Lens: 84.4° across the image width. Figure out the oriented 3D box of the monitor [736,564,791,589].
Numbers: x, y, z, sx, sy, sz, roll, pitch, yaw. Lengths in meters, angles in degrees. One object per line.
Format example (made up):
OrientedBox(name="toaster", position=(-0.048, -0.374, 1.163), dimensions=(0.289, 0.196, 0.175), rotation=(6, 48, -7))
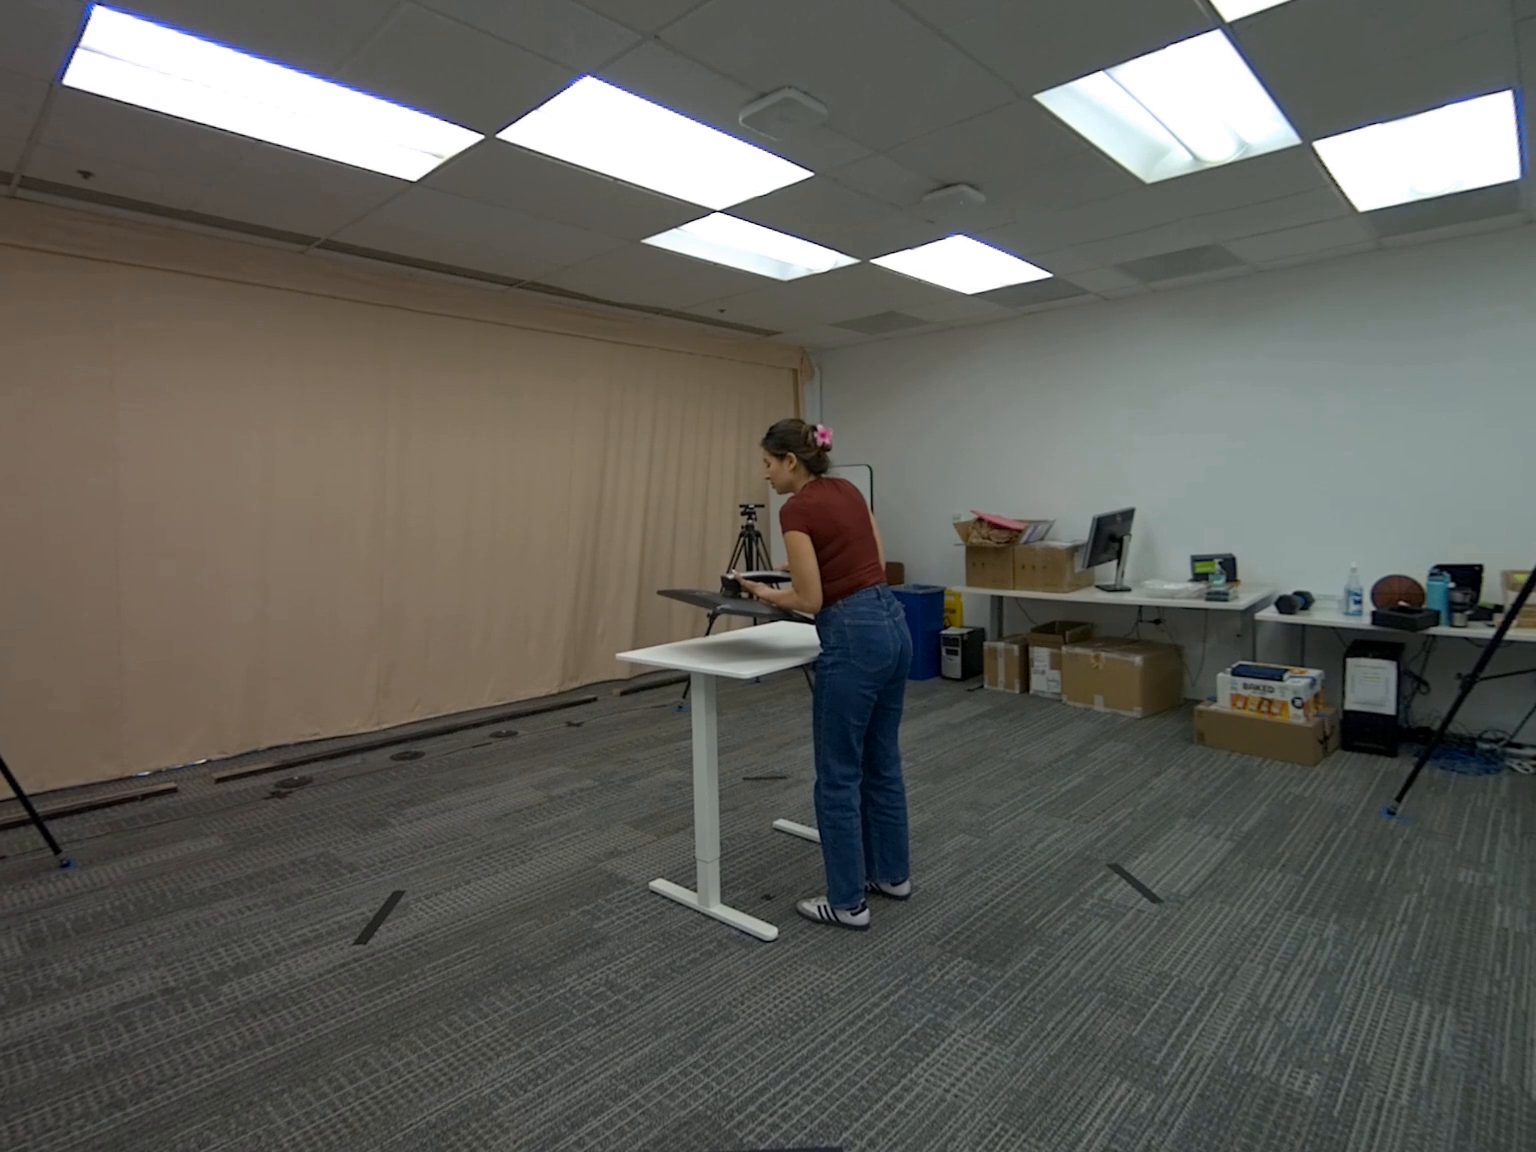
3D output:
OrientedBox(name="monitor", position=(-0.041, 0.053, 2.962), dimensions=(0.510, 0.186, 0.555), rotation=(-7, 8, -29))
